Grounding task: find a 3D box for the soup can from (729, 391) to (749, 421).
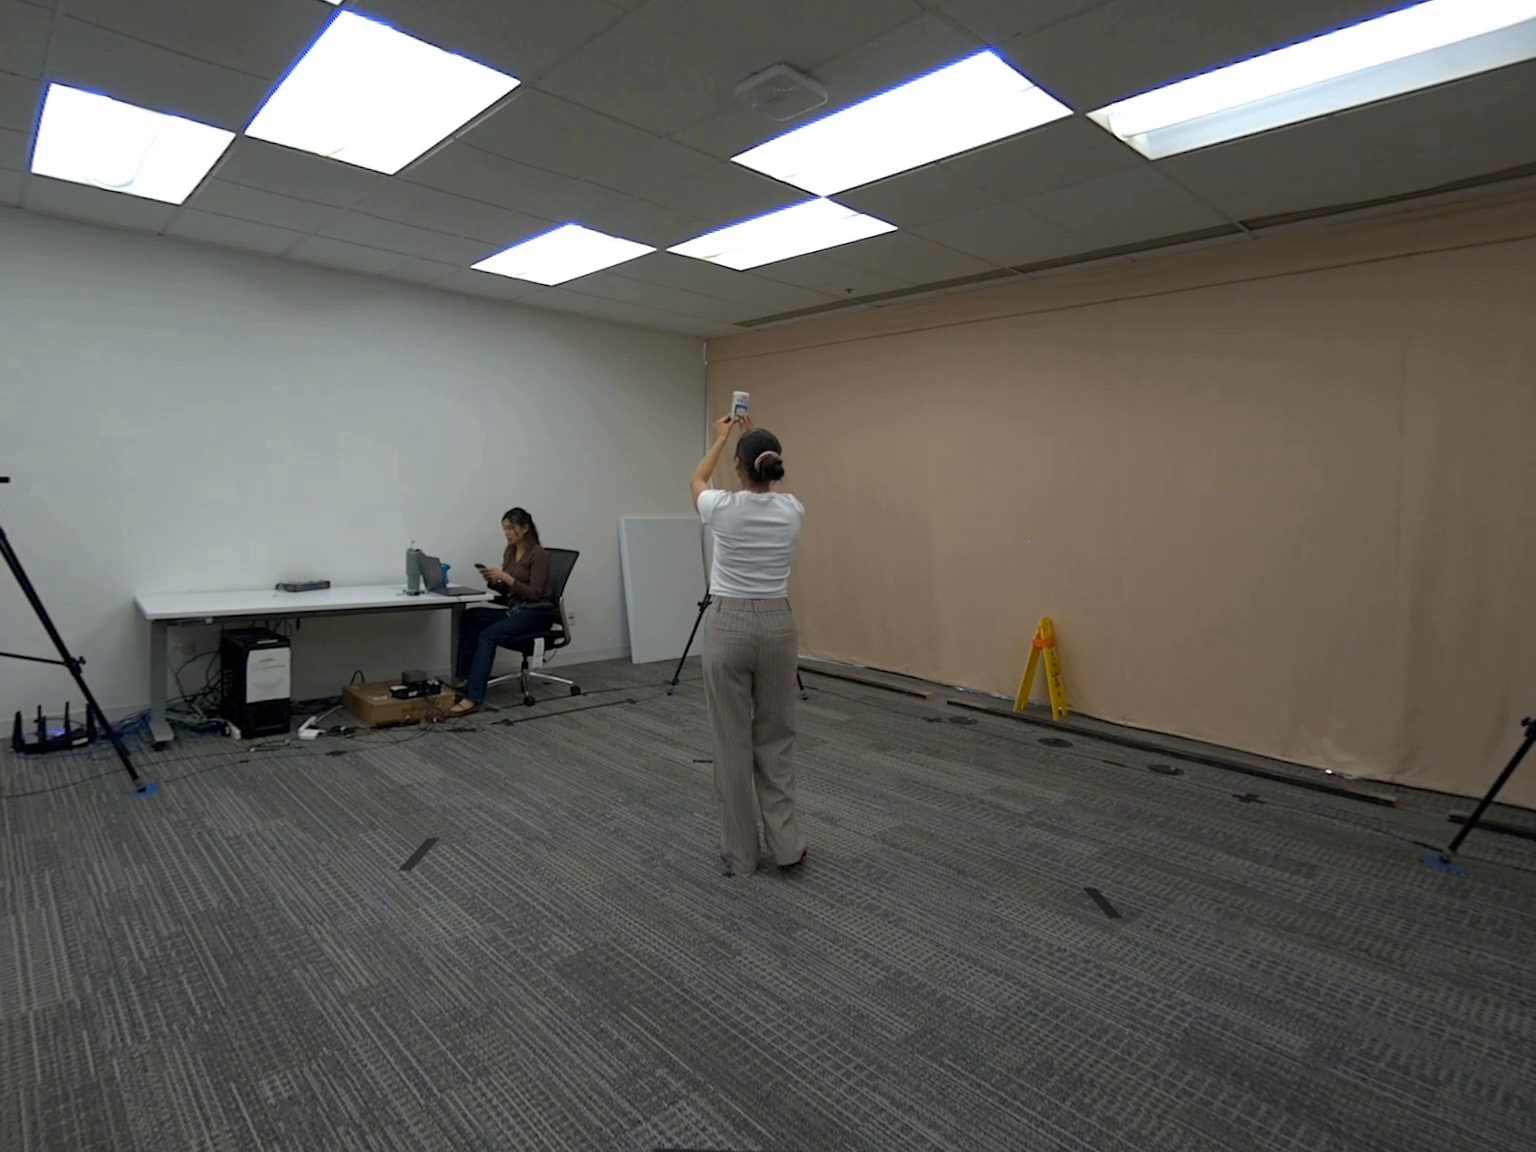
[{"bbox_3d":[-0.121,-0.707,3.503,0.067,0.121,0.067,7,3,-2],"label":"soup can"}]
